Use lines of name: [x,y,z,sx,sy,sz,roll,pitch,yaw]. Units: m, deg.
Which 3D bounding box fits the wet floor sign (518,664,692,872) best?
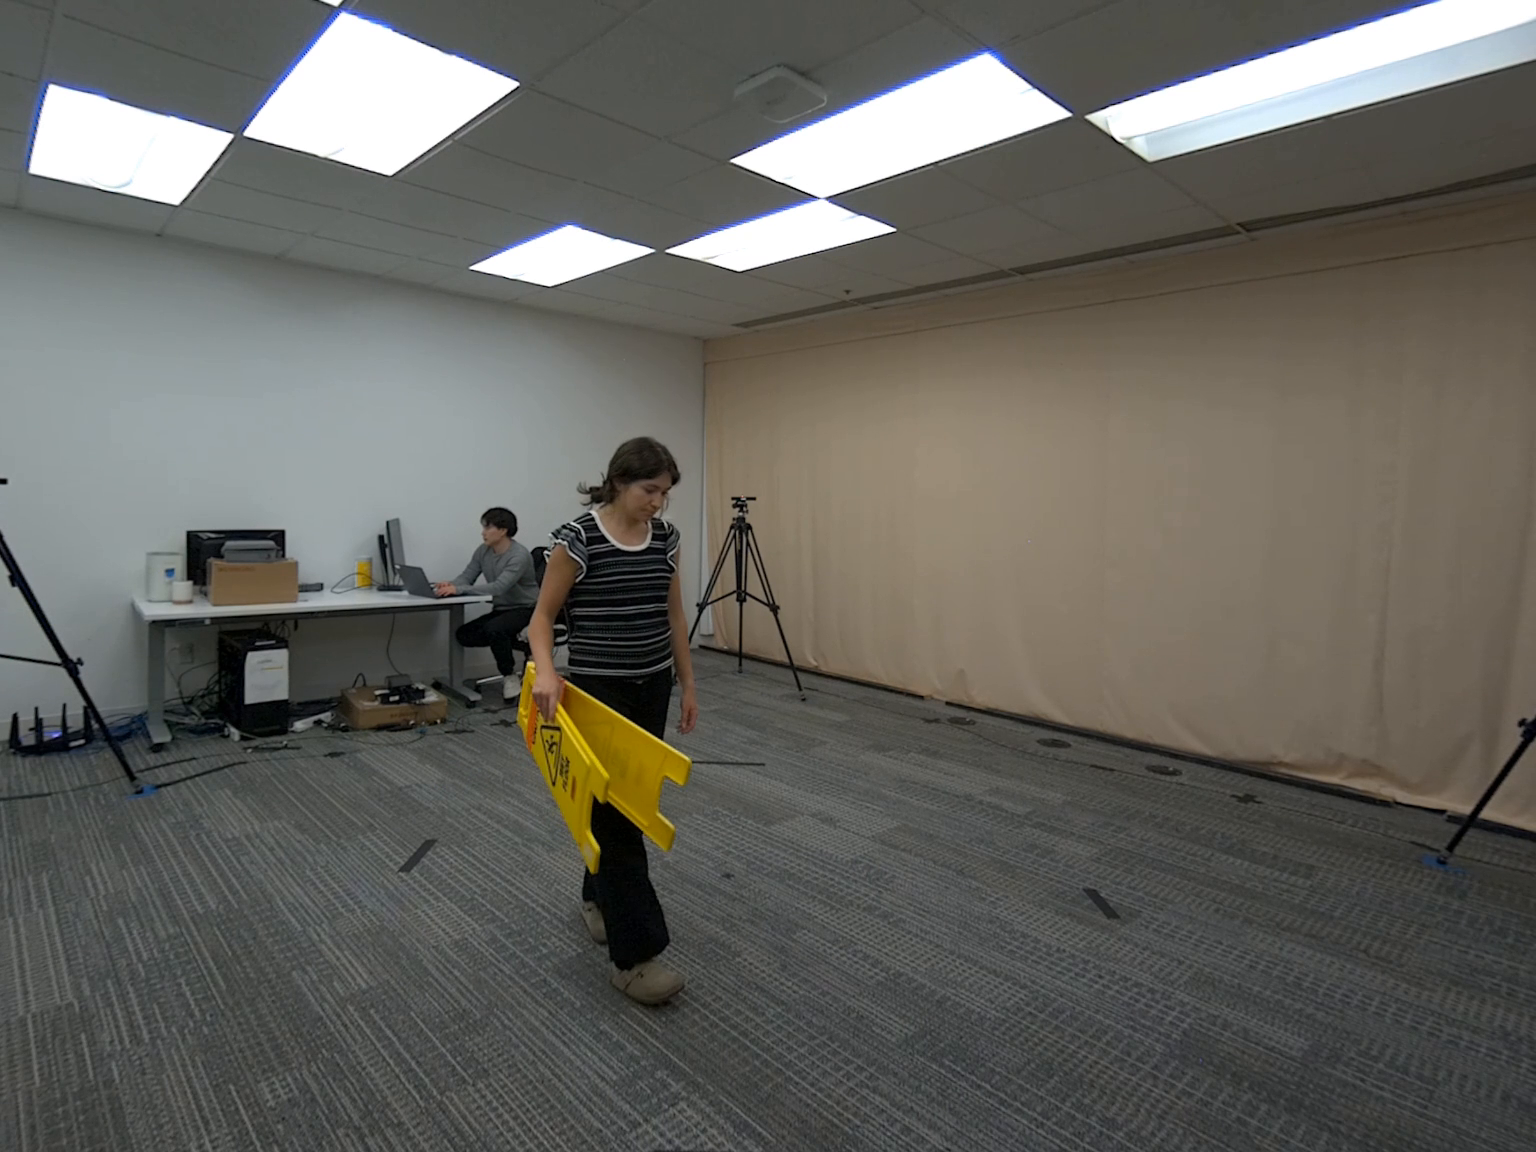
wet floor sign: [-0.528,0.467,2.279,0.283,0.280,0.667,-3,24,-43]
